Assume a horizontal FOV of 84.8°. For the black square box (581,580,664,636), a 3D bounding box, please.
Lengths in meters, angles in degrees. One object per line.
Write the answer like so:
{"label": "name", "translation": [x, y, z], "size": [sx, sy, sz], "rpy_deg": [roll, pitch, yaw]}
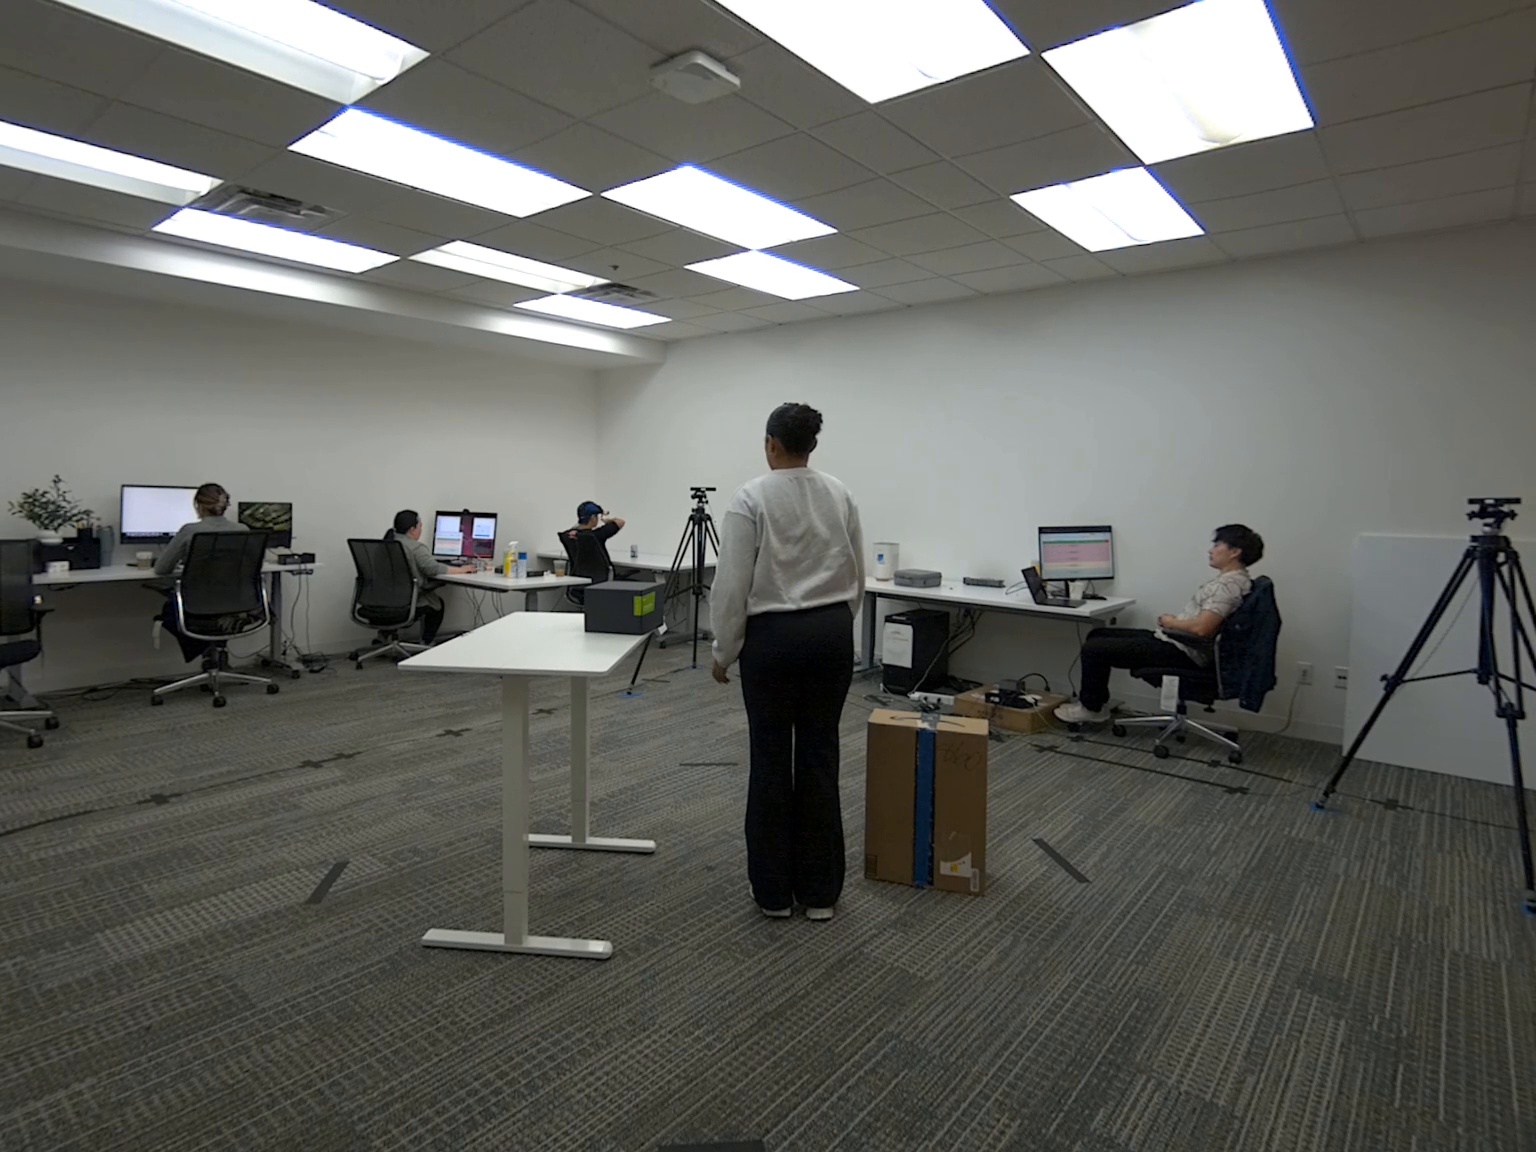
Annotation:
{"label": "black square box", "translation": [-0.517, 0.106, 3.014], "size": [0.220, 0.155, 0.225], "rpy_deg": [2, 5, 13]}
